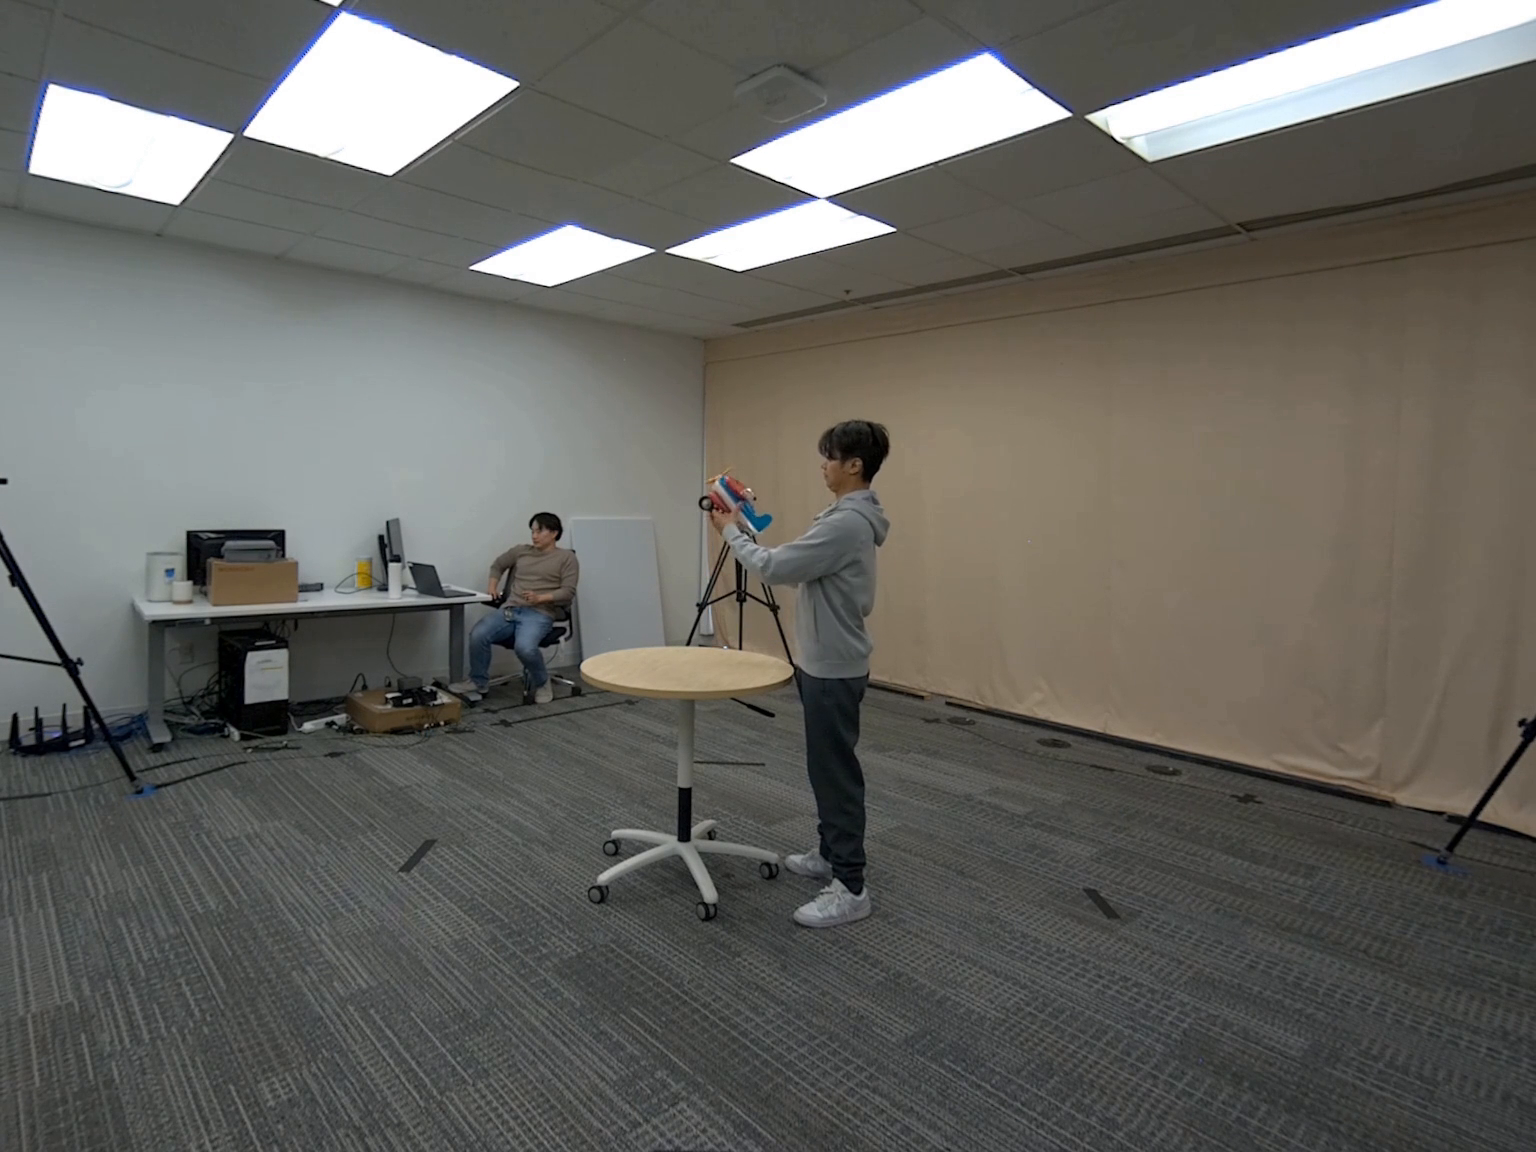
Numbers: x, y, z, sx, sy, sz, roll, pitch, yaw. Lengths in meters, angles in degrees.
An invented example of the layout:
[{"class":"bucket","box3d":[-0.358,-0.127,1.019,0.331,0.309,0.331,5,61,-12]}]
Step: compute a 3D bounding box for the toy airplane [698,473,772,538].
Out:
[{"class":"toy airplane","box3d":[-0.112,-0.206,3.016,0.255,0.156,0.255,34,8,-17]}]
